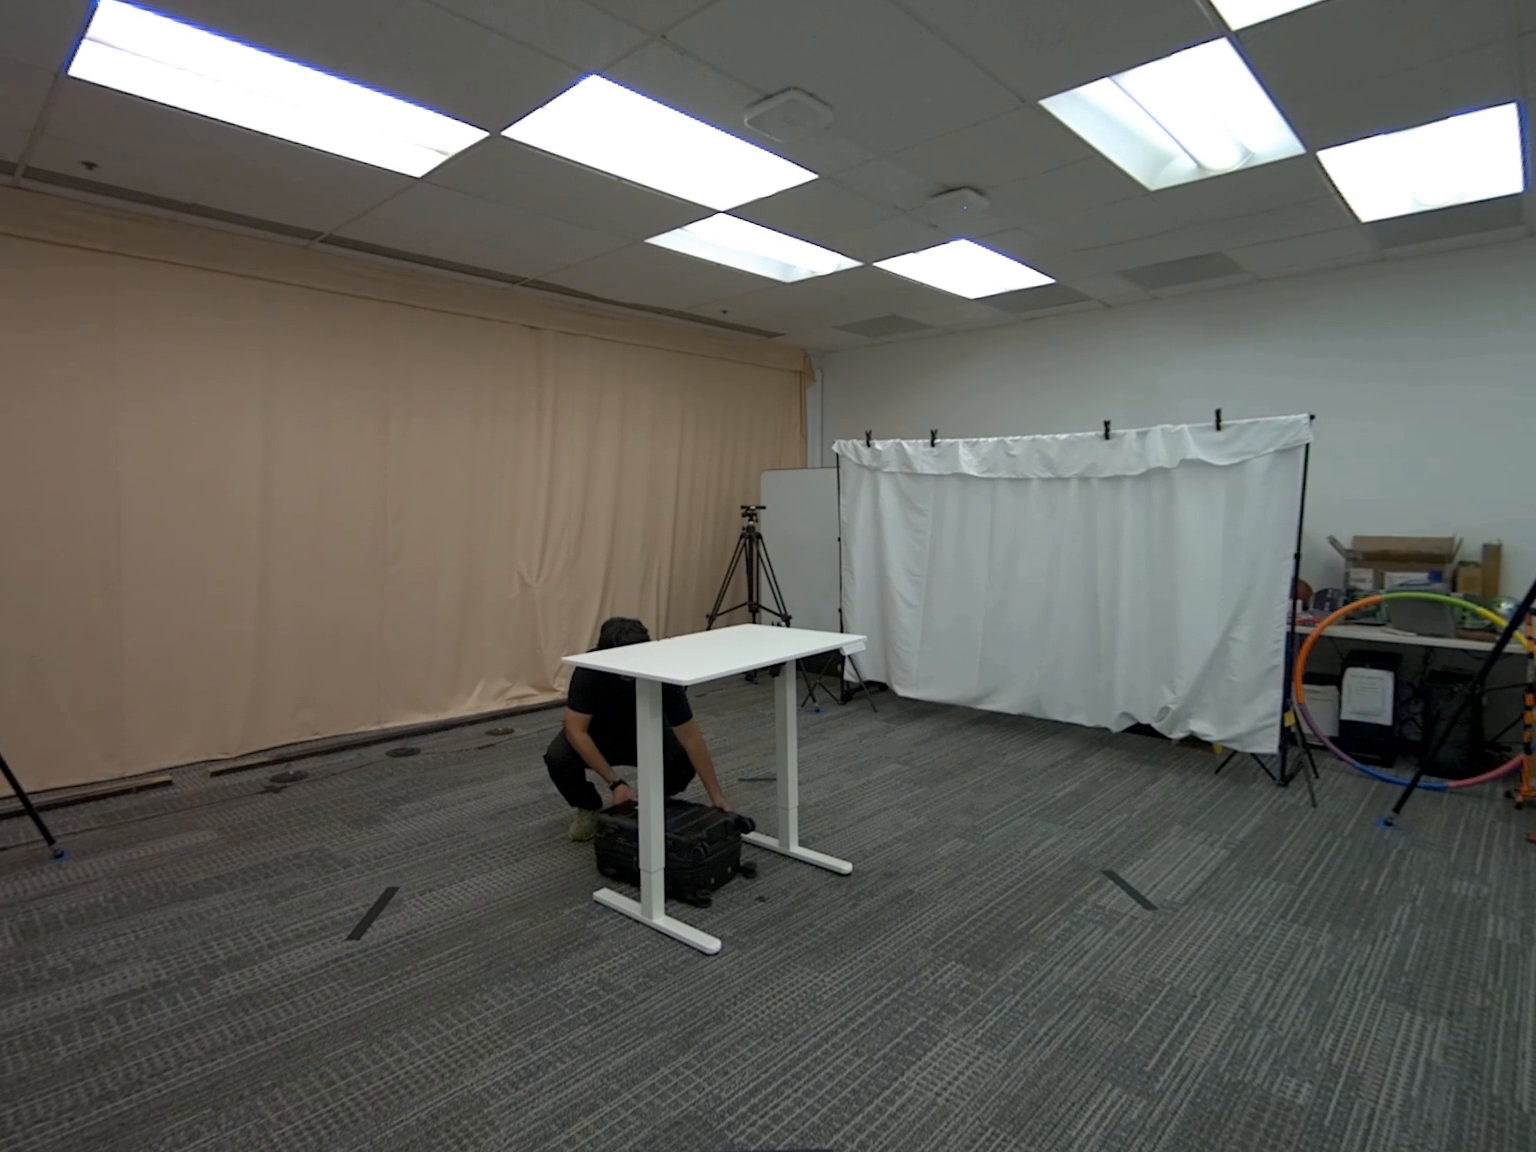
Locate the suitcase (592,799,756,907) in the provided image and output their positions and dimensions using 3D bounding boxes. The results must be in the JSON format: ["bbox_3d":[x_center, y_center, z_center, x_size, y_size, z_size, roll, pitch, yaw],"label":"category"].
[{"bbox_3d":[-0.360,1.011,3.170,0.566,0.247,0.365,3,6,33],"label":"suitcase"}]
